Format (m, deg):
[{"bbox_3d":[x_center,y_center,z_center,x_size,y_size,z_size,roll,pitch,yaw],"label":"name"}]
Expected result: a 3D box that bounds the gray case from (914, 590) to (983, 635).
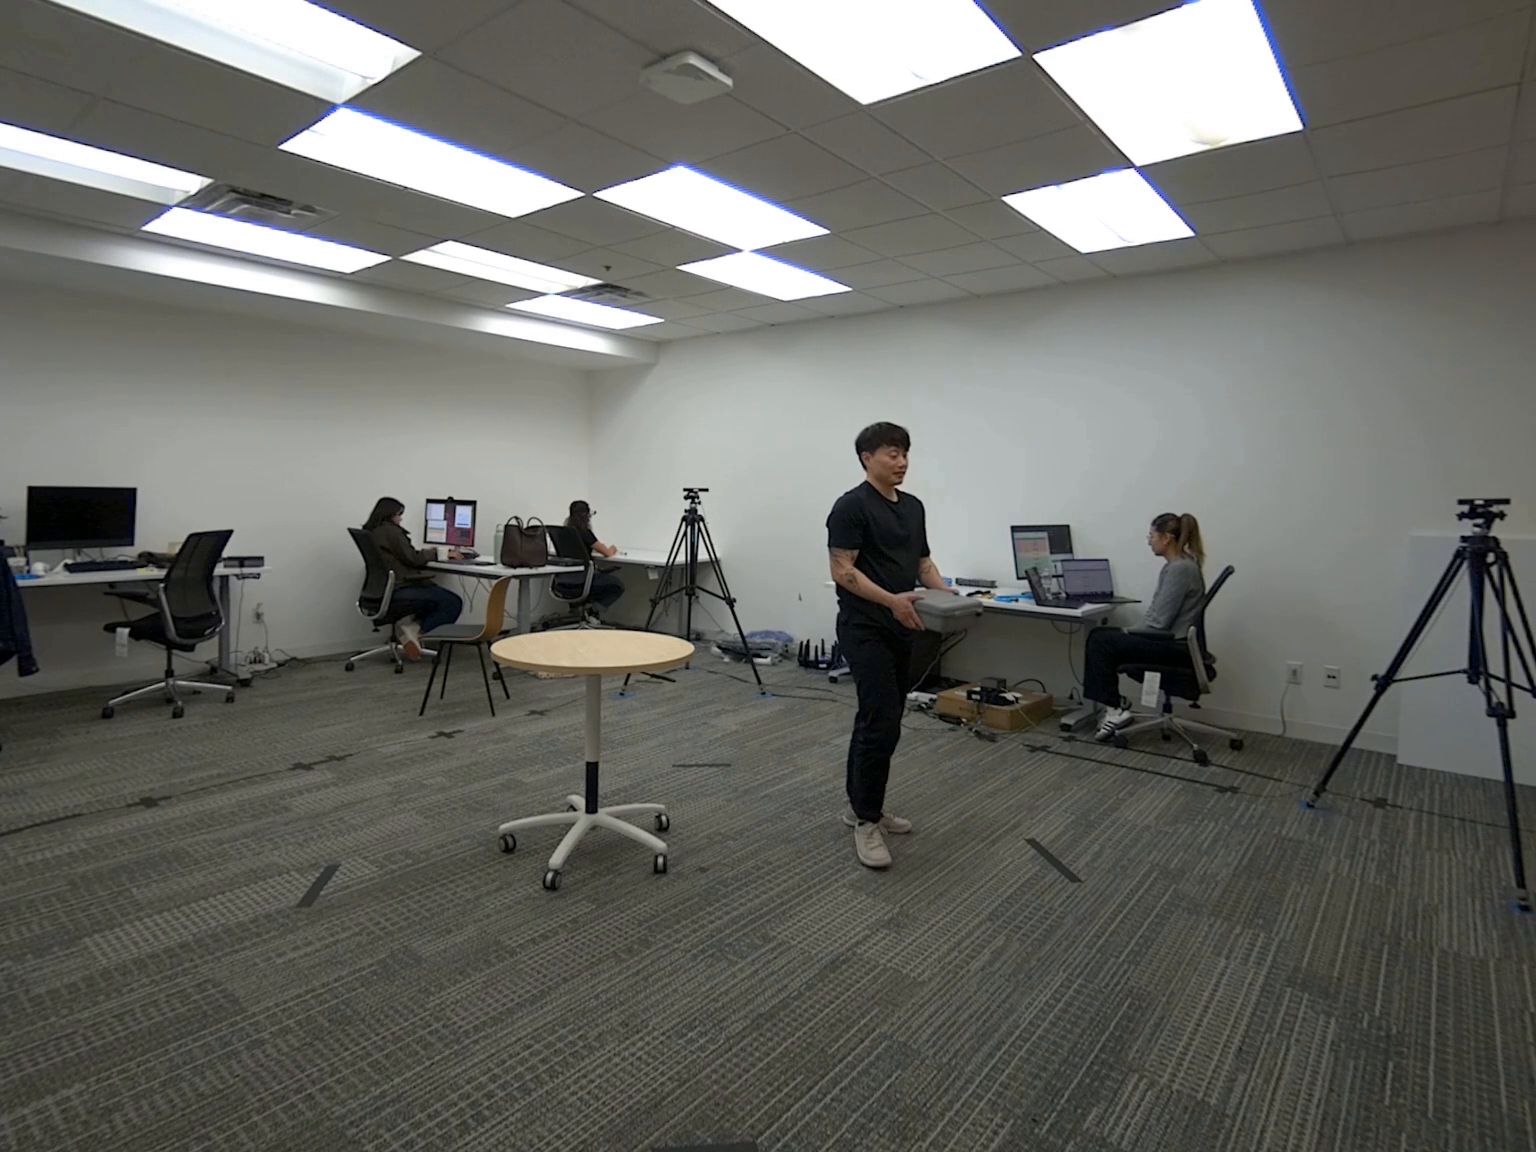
[{"bbox_3d":[0.645,0.126,3.234,0.250,0.103,0.270,-8,15,-40],"label":"gray case"}]
